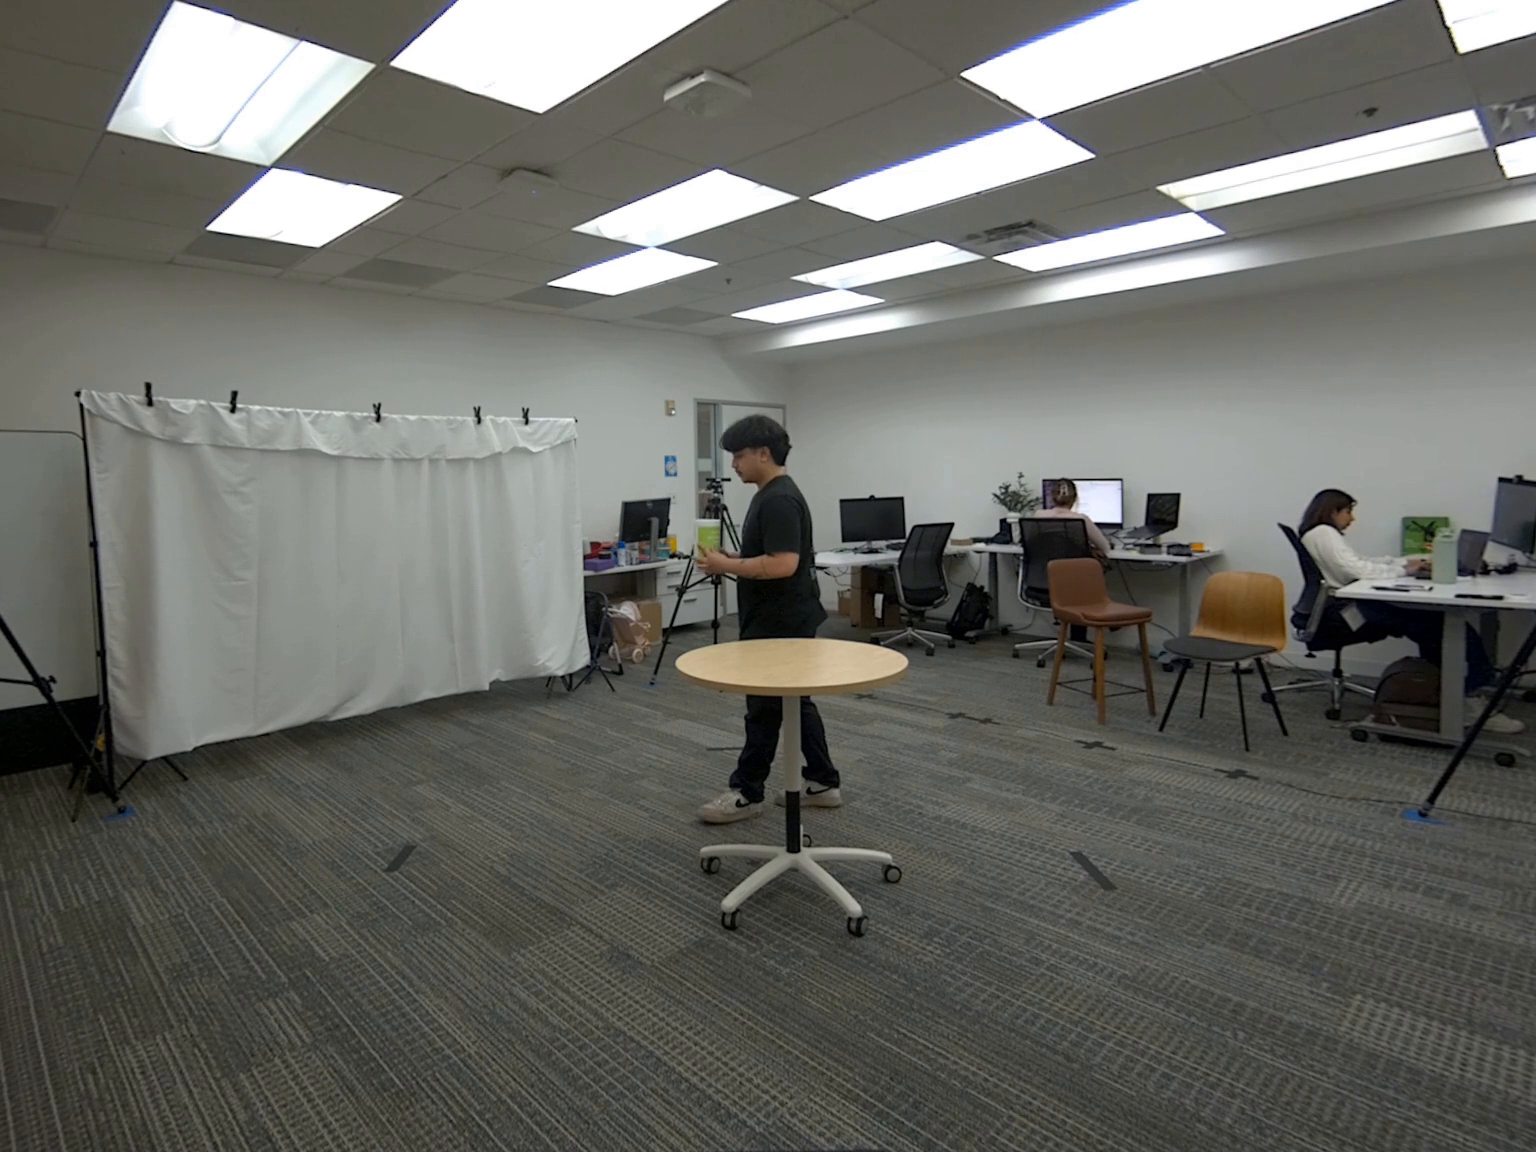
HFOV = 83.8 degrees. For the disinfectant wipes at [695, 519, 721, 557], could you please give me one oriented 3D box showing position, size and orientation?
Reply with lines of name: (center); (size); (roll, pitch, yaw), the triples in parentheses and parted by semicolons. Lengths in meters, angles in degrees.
disinfectant wipes: (-0.252, -0.129, 3.514); (0.117, 0.216, 0.118); (2, 5, -2)
